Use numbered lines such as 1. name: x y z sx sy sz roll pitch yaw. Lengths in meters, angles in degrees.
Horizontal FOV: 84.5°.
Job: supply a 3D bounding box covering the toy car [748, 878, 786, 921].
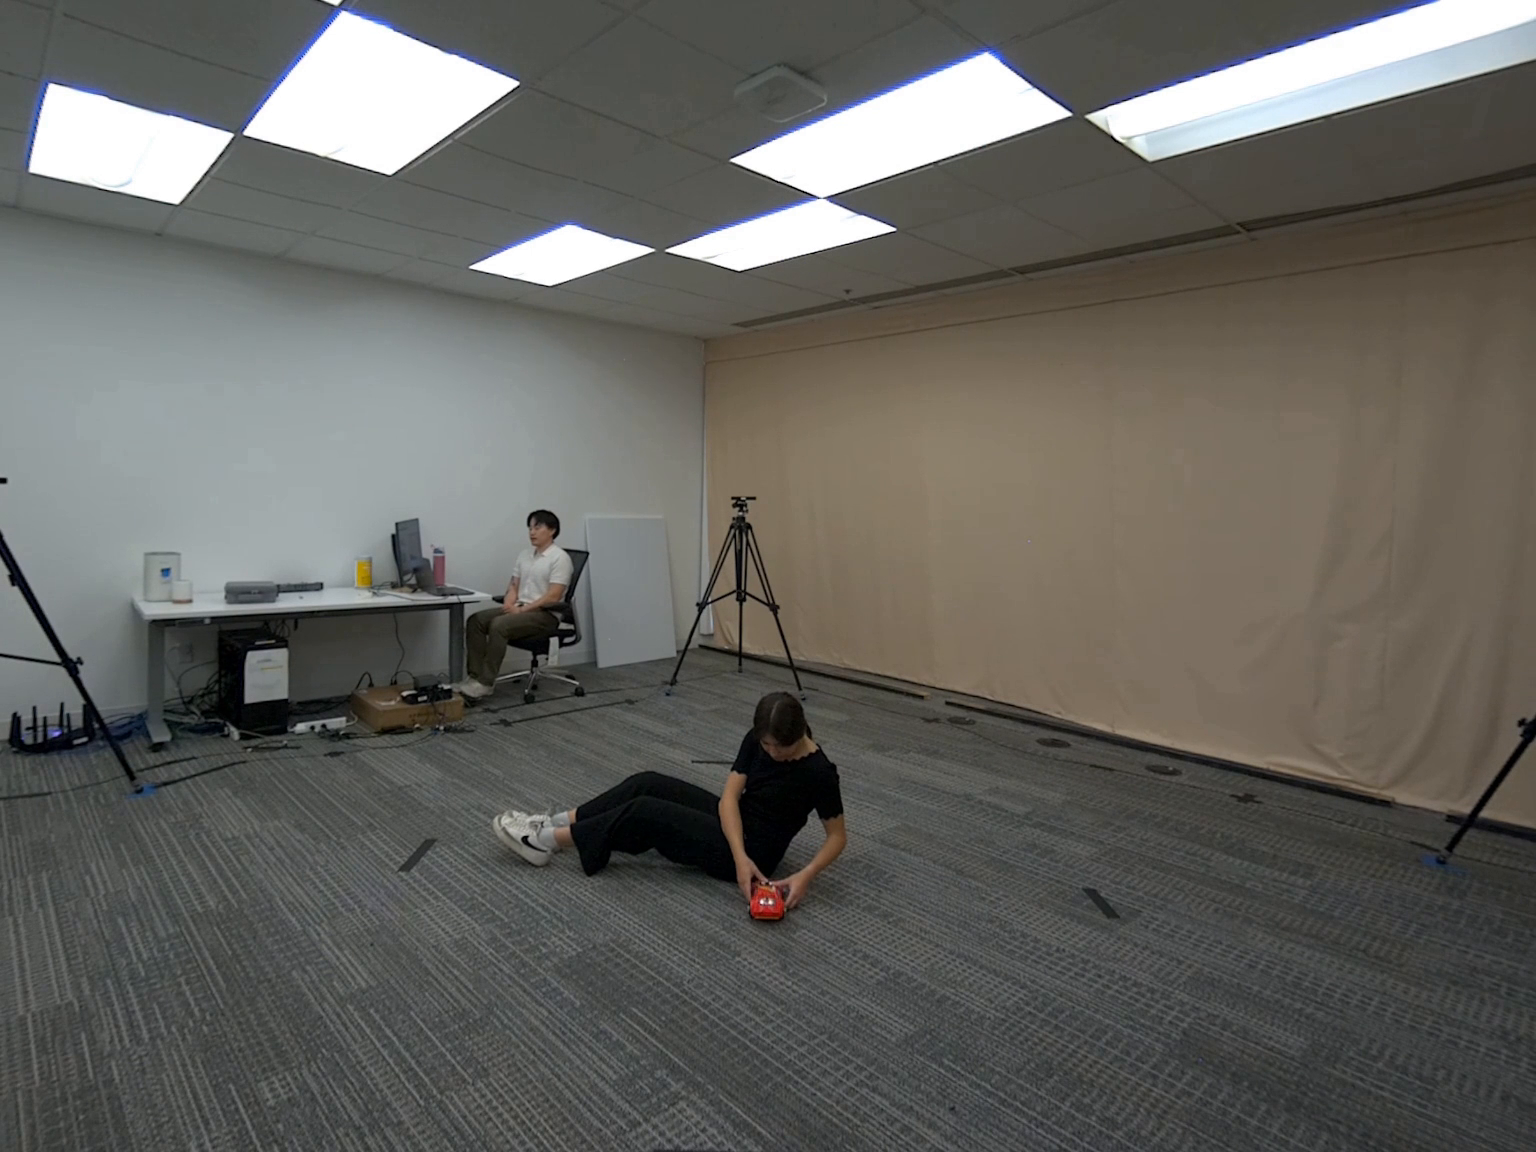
1. toy car: -0.017 1.104 2.843 0.130 0.084 0.253 1 -7 0
